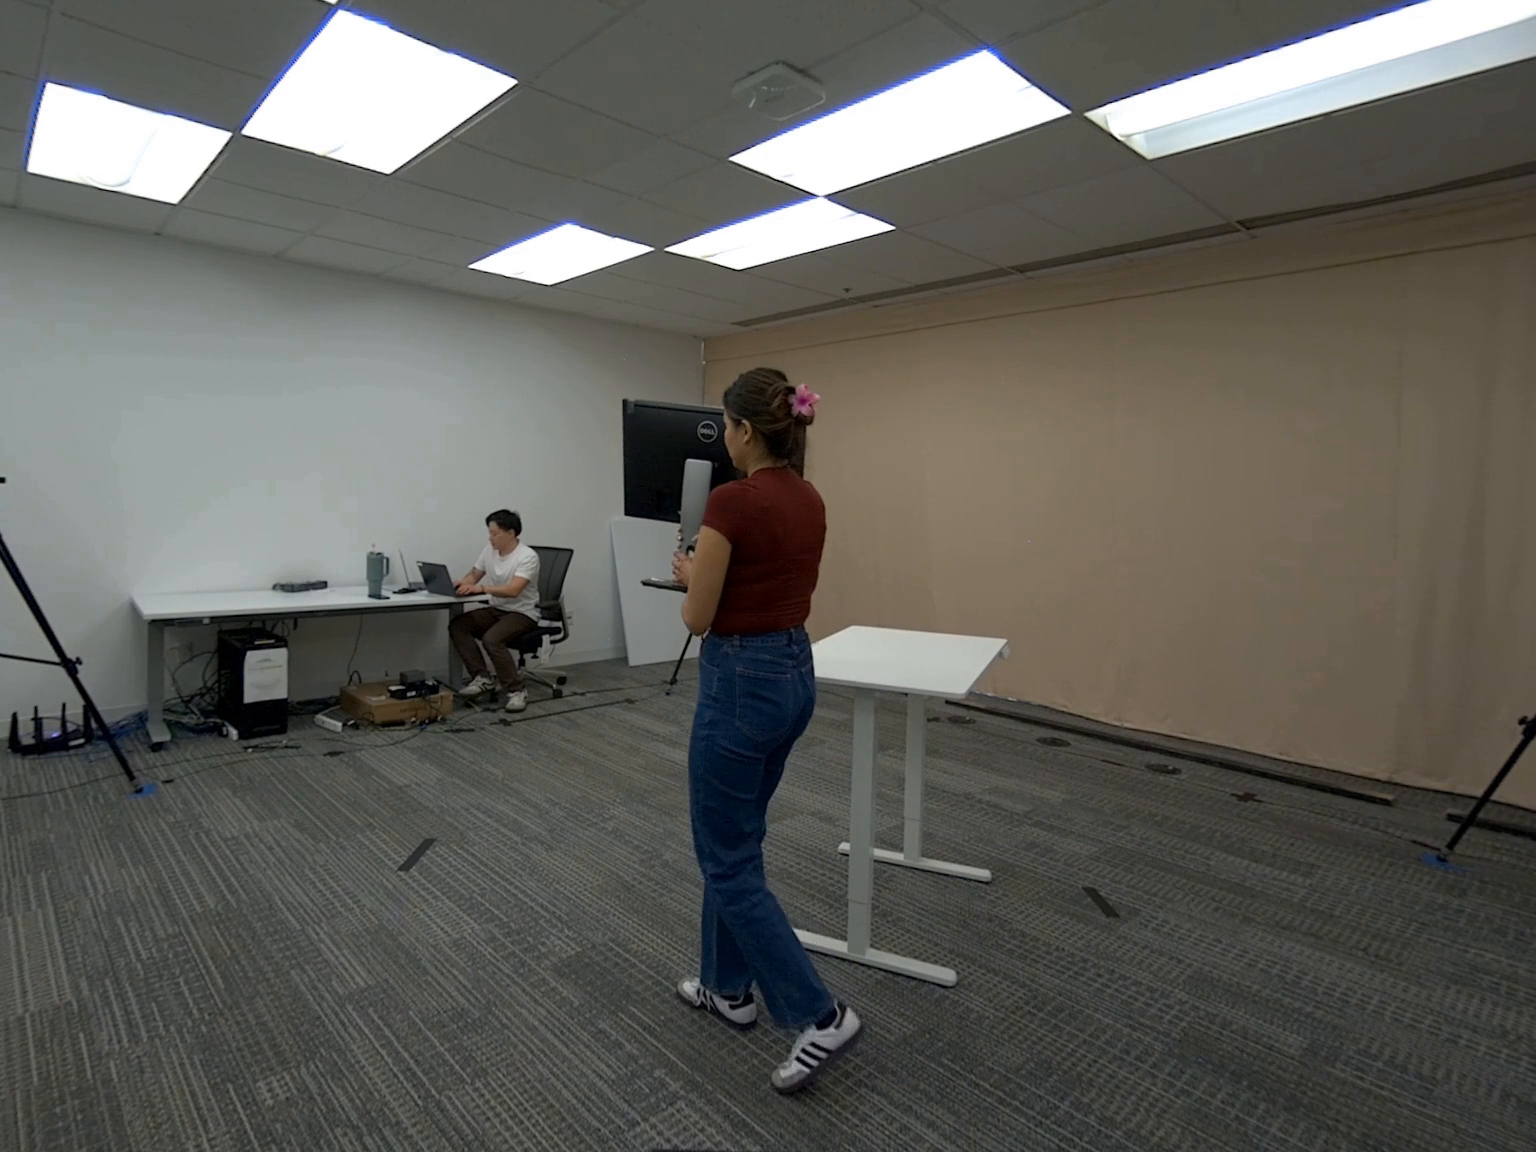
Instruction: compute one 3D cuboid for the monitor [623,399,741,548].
[{"bbox_3d":[-0.185,-0.208,2.343,0.546,0.520,0.185,9,7,14],"label":"monitor"}]
